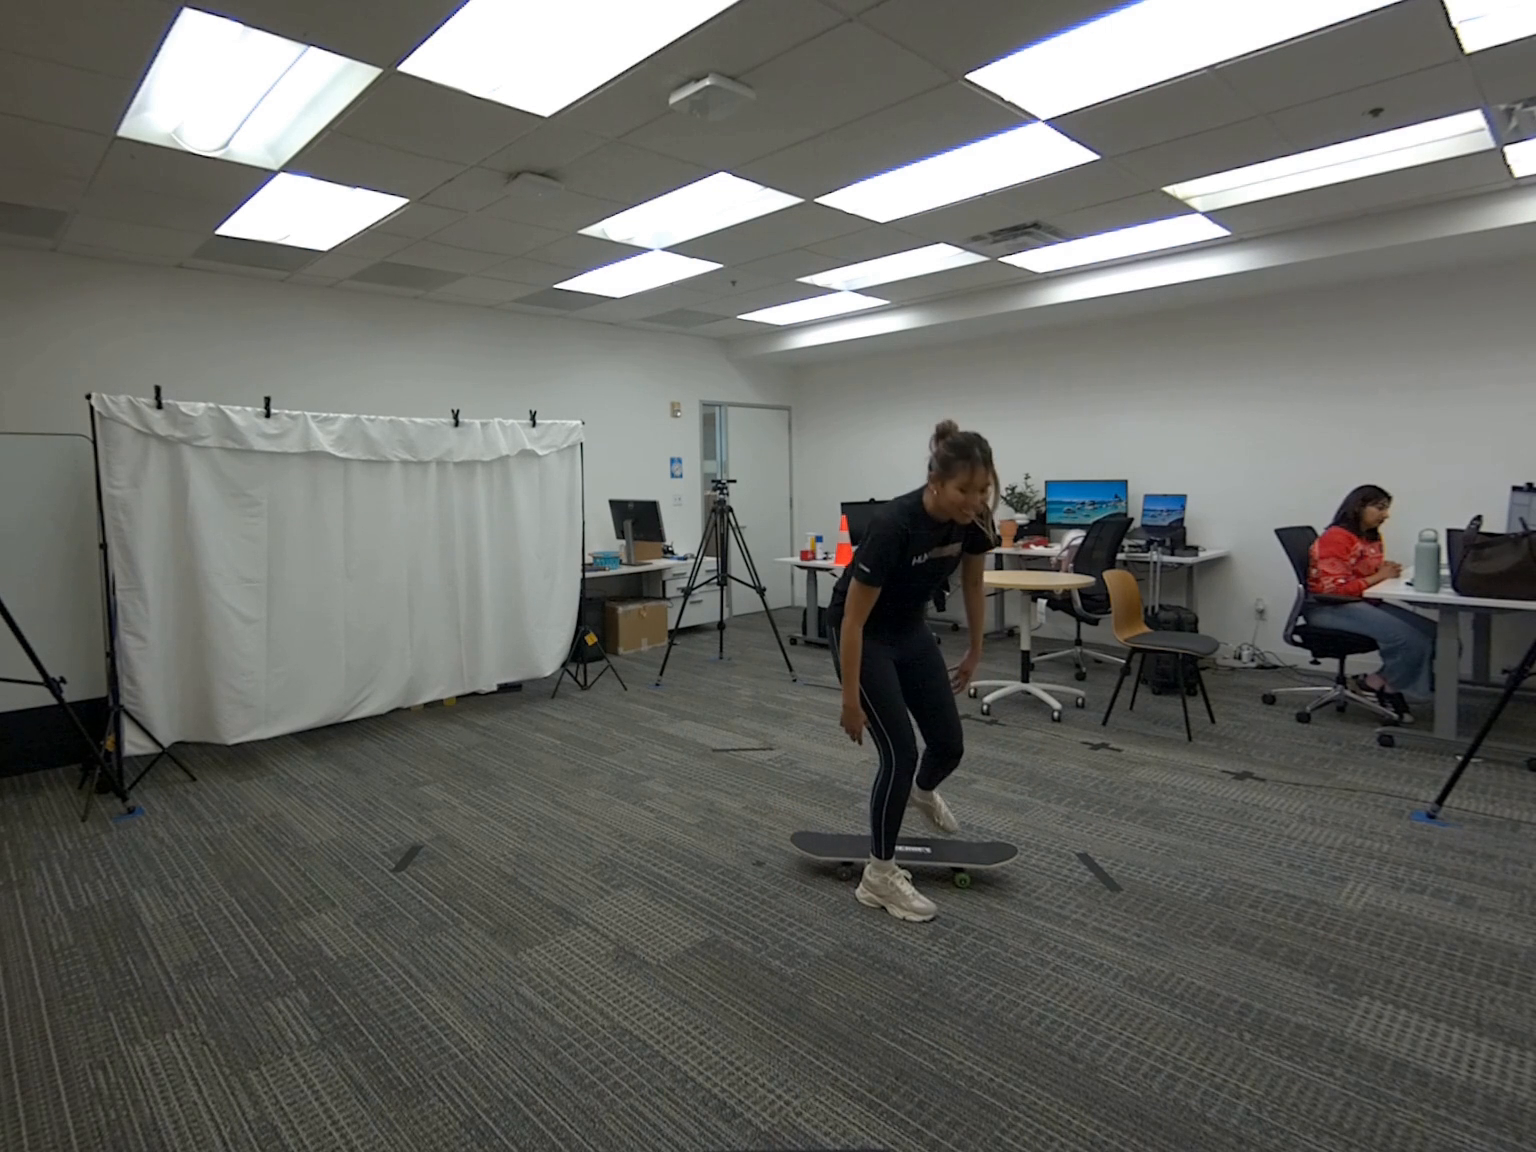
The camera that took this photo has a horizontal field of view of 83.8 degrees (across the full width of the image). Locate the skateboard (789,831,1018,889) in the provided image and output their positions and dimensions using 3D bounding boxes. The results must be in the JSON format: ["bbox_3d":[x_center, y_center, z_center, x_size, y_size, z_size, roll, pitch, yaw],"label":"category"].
[{"bbox_3d":[0.473,0.990,3.003,0.793,0.110,0.192,0,6,10],"label":"skateboard"}]
